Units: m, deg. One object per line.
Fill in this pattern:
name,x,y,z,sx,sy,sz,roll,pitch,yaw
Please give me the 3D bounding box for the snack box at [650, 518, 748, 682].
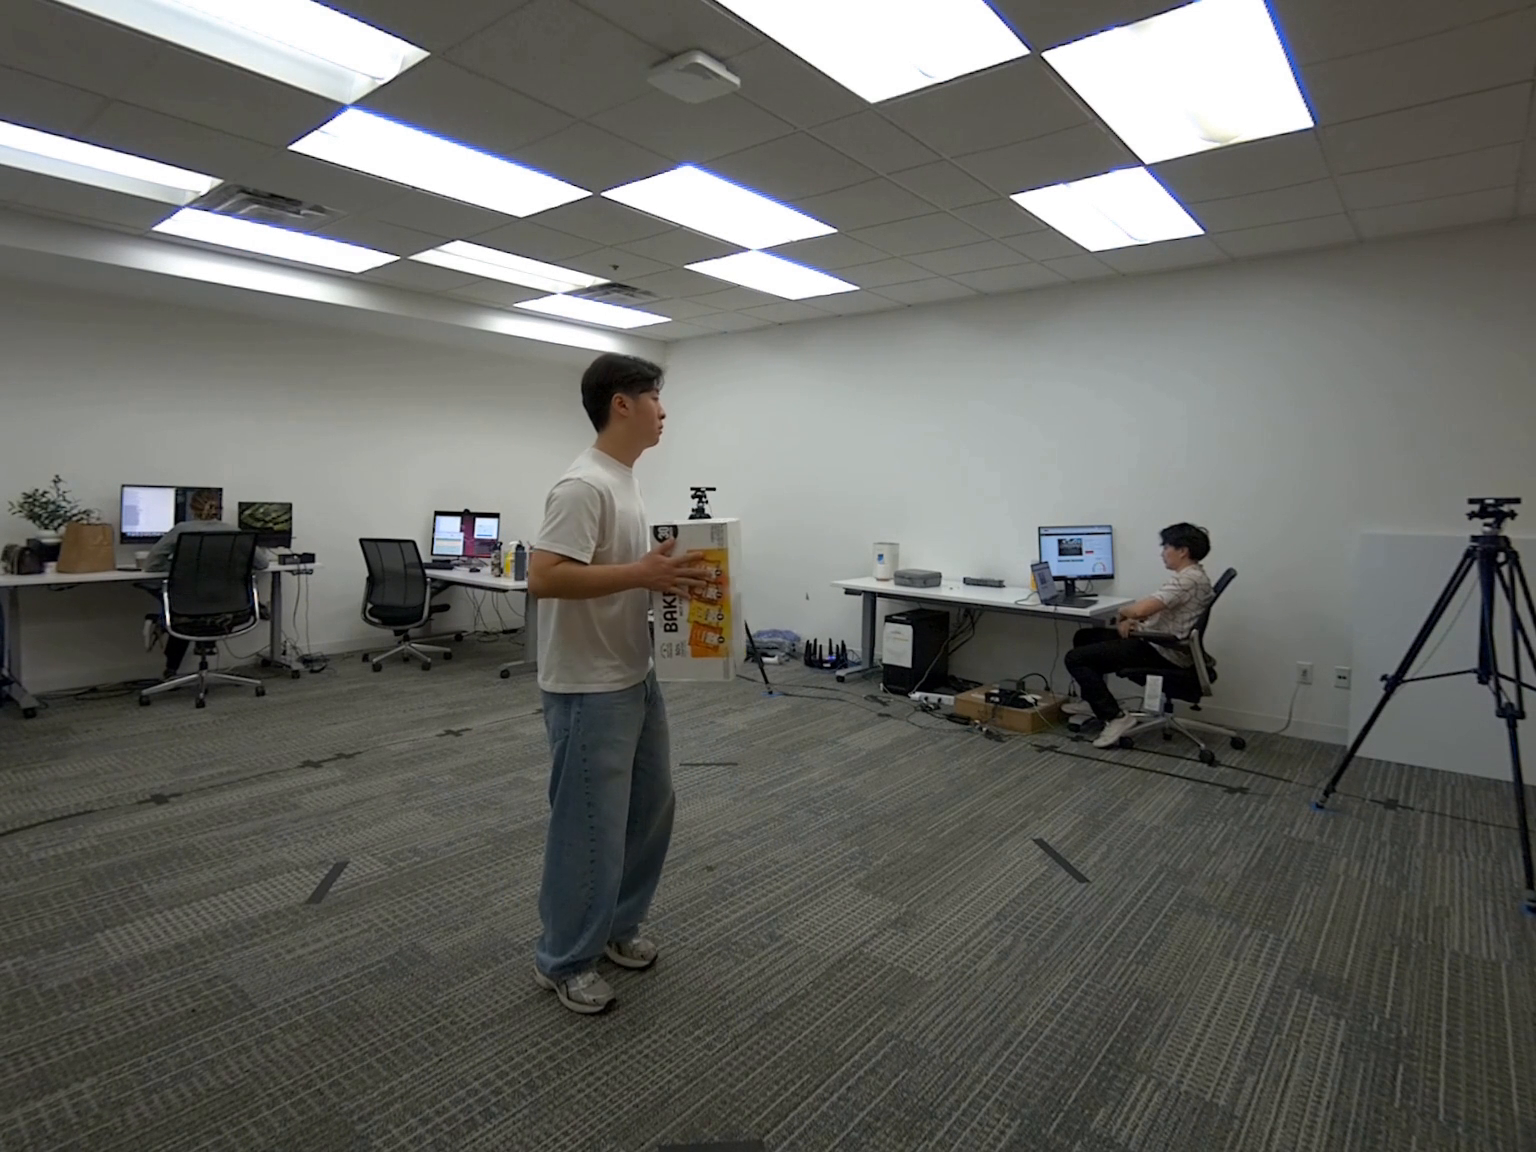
snack box,-0.192,0.055,2.321,0.207,0.404,0.339,-2,4,5
